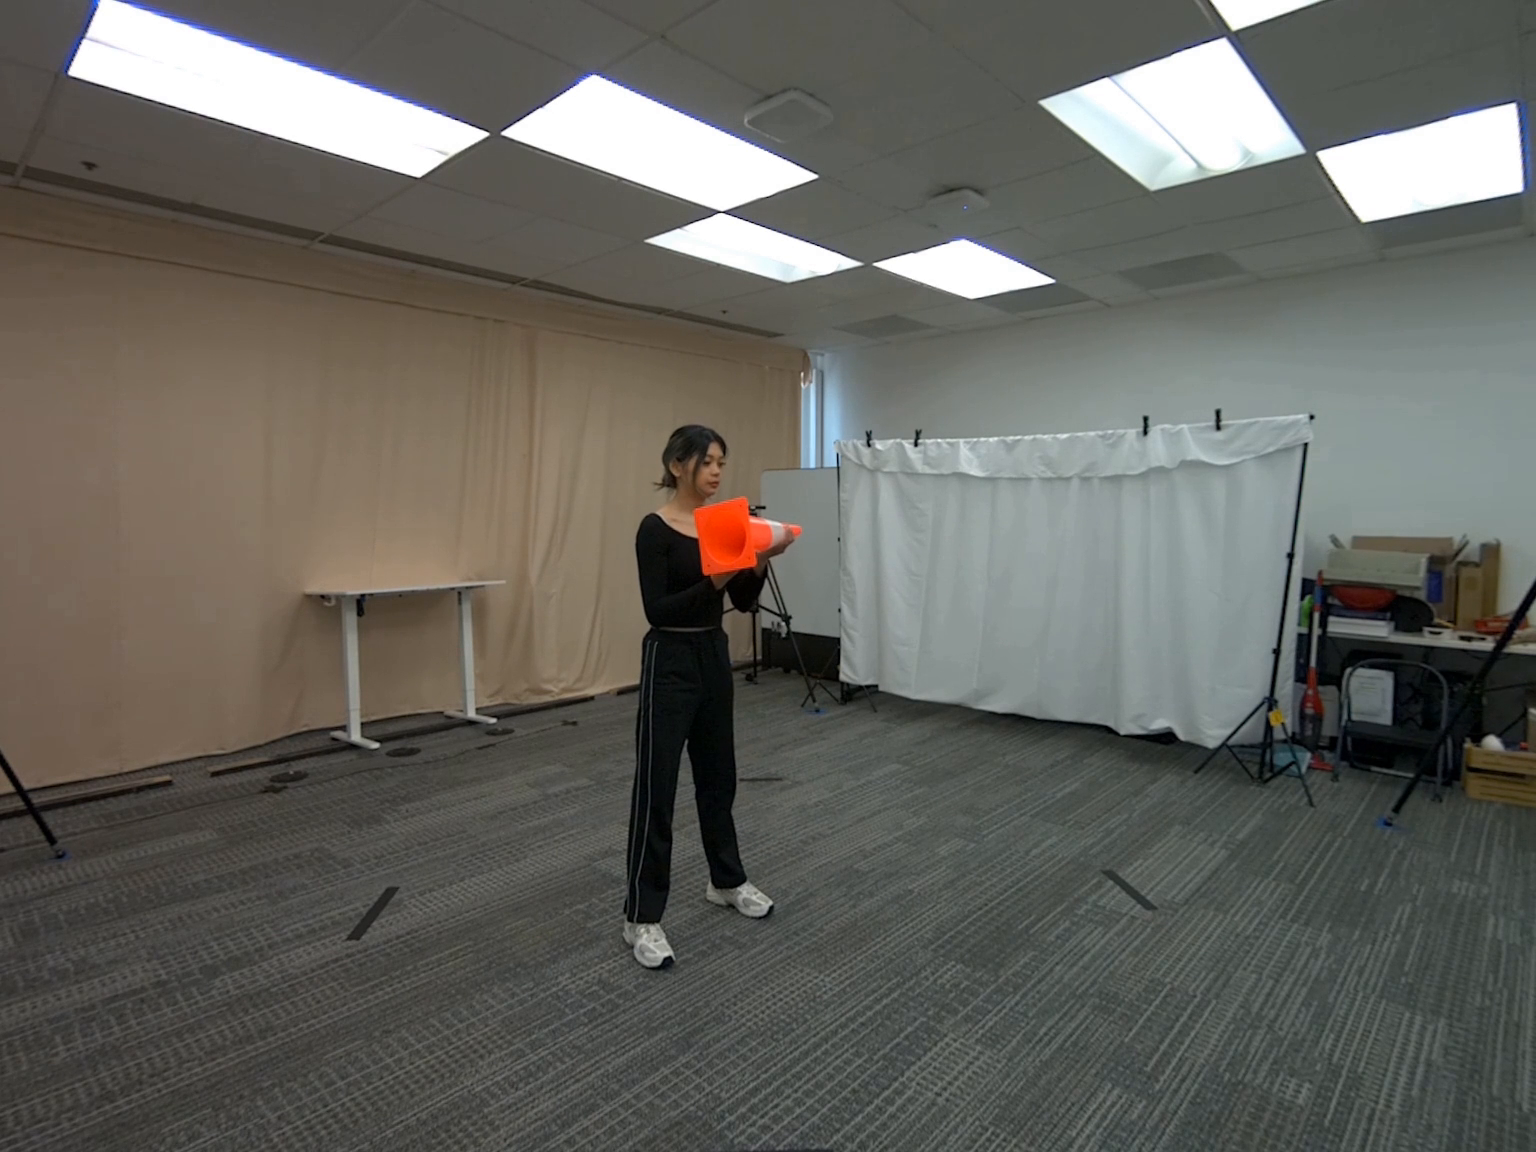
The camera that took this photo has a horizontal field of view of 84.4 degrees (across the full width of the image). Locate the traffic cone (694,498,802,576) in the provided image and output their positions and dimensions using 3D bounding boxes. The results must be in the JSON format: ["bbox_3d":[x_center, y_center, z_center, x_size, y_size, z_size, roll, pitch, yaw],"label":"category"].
[{"bbox_3d":[-0.022,-0.128,2.577,0.209,0.205,0.373,-12,-2,37],"label":"traffic cone"}]
